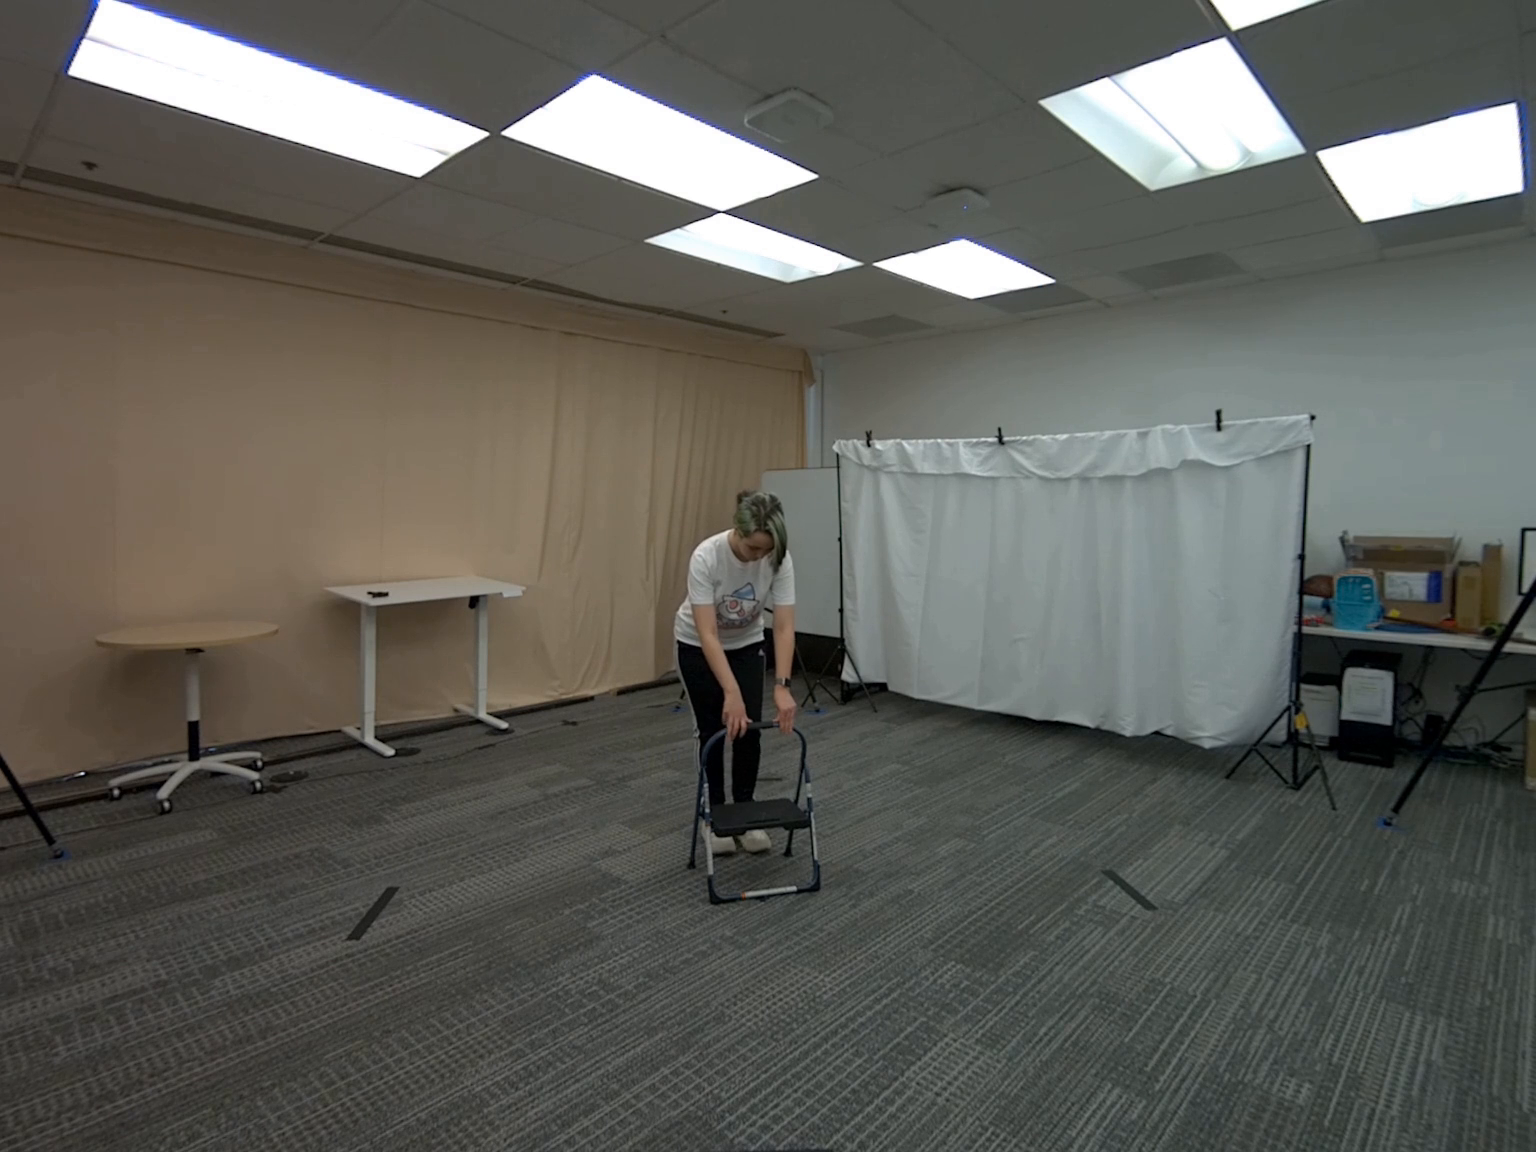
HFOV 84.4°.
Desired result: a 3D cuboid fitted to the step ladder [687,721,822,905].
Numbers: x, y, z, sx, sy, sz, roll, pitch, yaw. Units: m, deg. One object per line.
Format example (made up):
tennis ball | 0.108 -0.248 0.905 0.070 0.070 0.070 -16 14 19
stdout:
step ladder | -0.054 0.829 3.138 0.423 0.605 0.356 -2 3 -17
